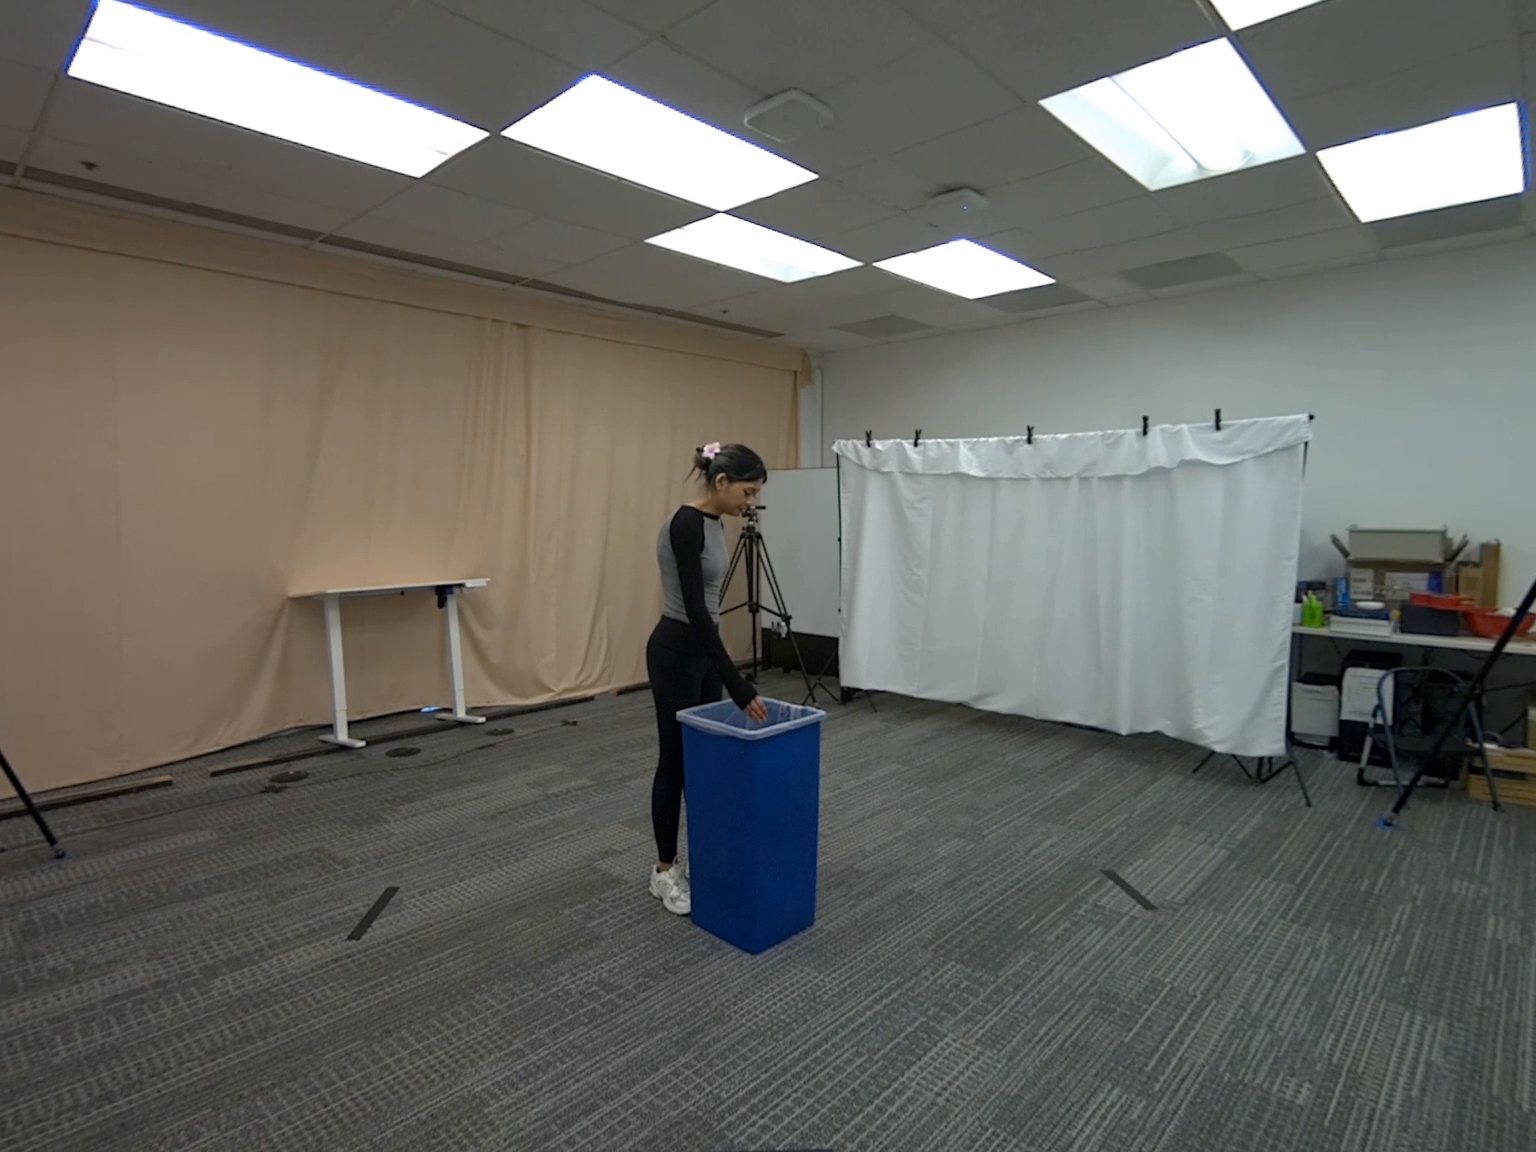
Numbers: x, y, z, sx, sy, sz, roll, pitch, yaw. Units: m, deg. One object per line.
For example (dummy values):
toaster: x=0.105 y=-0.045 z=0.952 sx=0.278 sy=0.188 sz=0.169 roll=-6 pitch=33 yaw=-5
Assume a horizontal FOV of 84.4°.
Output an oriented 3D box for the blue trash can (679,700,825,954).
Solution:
blue trash can: x=-0.050 y=0.803 z=2.782 sx=0.391 sy=0.712 sz=0.362 roll=3 pitch=4 yaw=44
